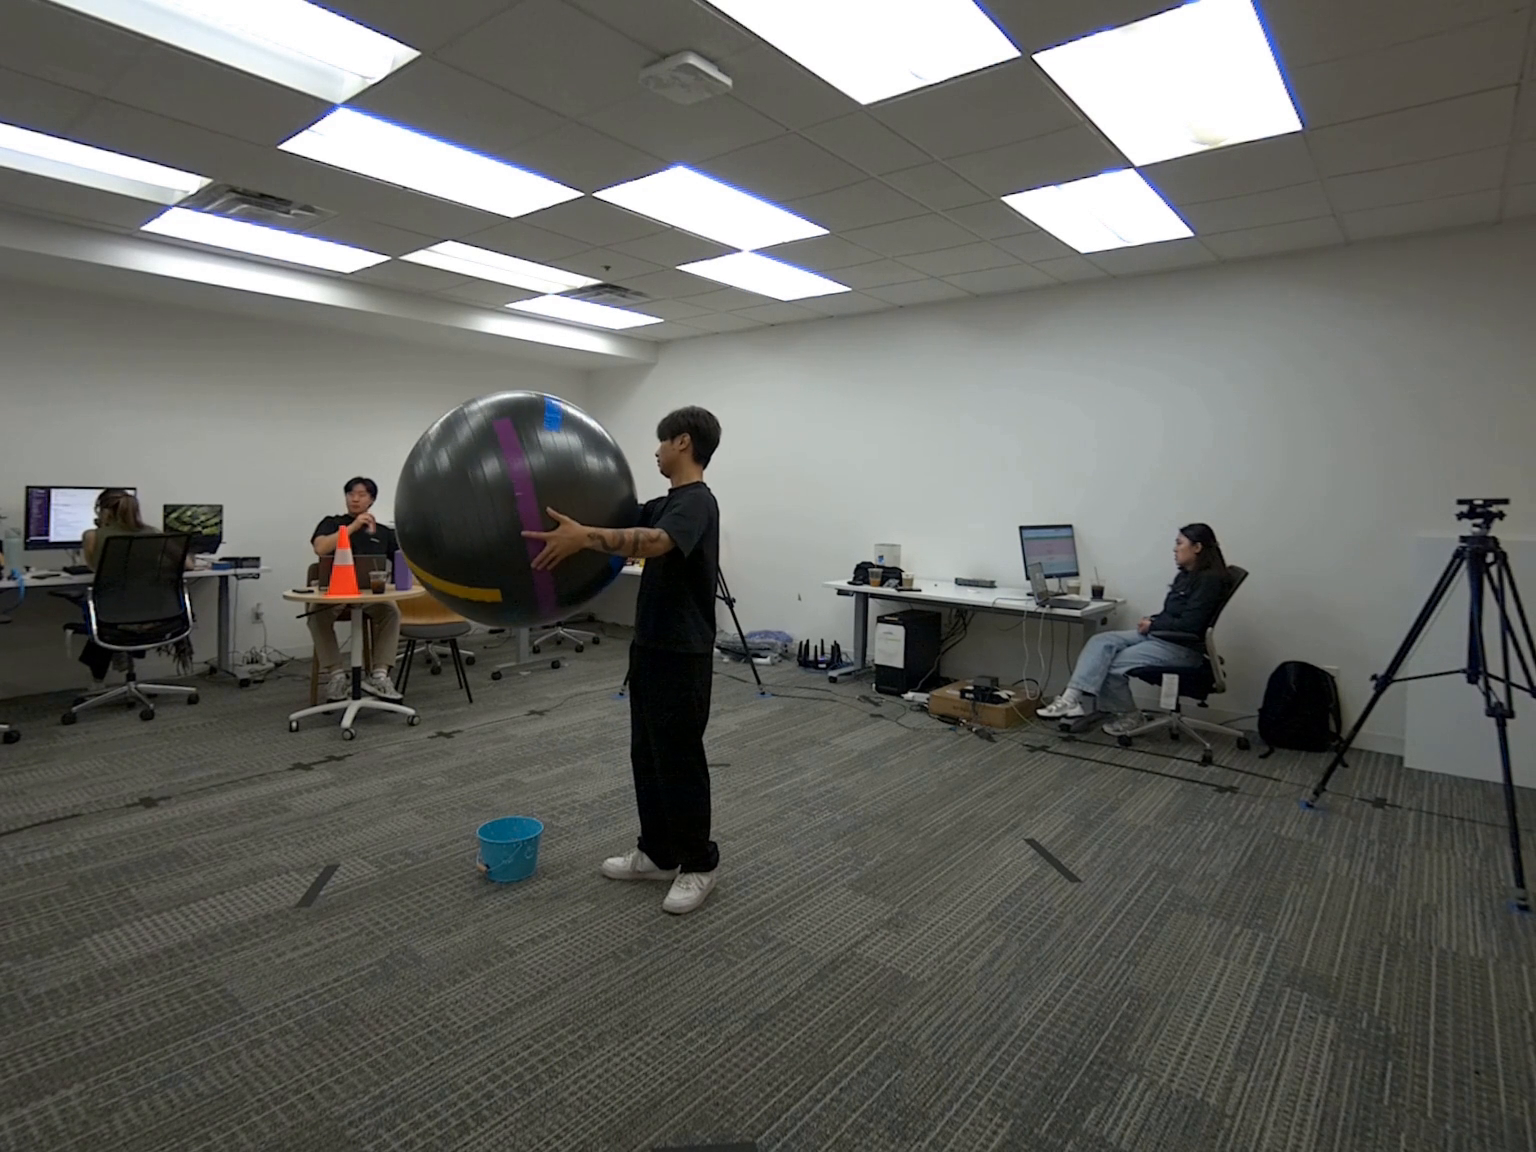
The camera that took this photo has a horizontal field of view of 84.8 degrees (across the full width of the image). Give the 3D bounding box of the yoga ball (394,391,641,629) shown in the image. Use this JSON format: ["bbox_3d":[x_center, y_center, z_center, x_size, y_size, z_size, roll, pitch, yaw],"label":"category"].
[{"bbox_3d":[-0.816,-0.207,2.738,0.757,0.756,0.762,1,4,-2],"label":"yoga ball"}]
